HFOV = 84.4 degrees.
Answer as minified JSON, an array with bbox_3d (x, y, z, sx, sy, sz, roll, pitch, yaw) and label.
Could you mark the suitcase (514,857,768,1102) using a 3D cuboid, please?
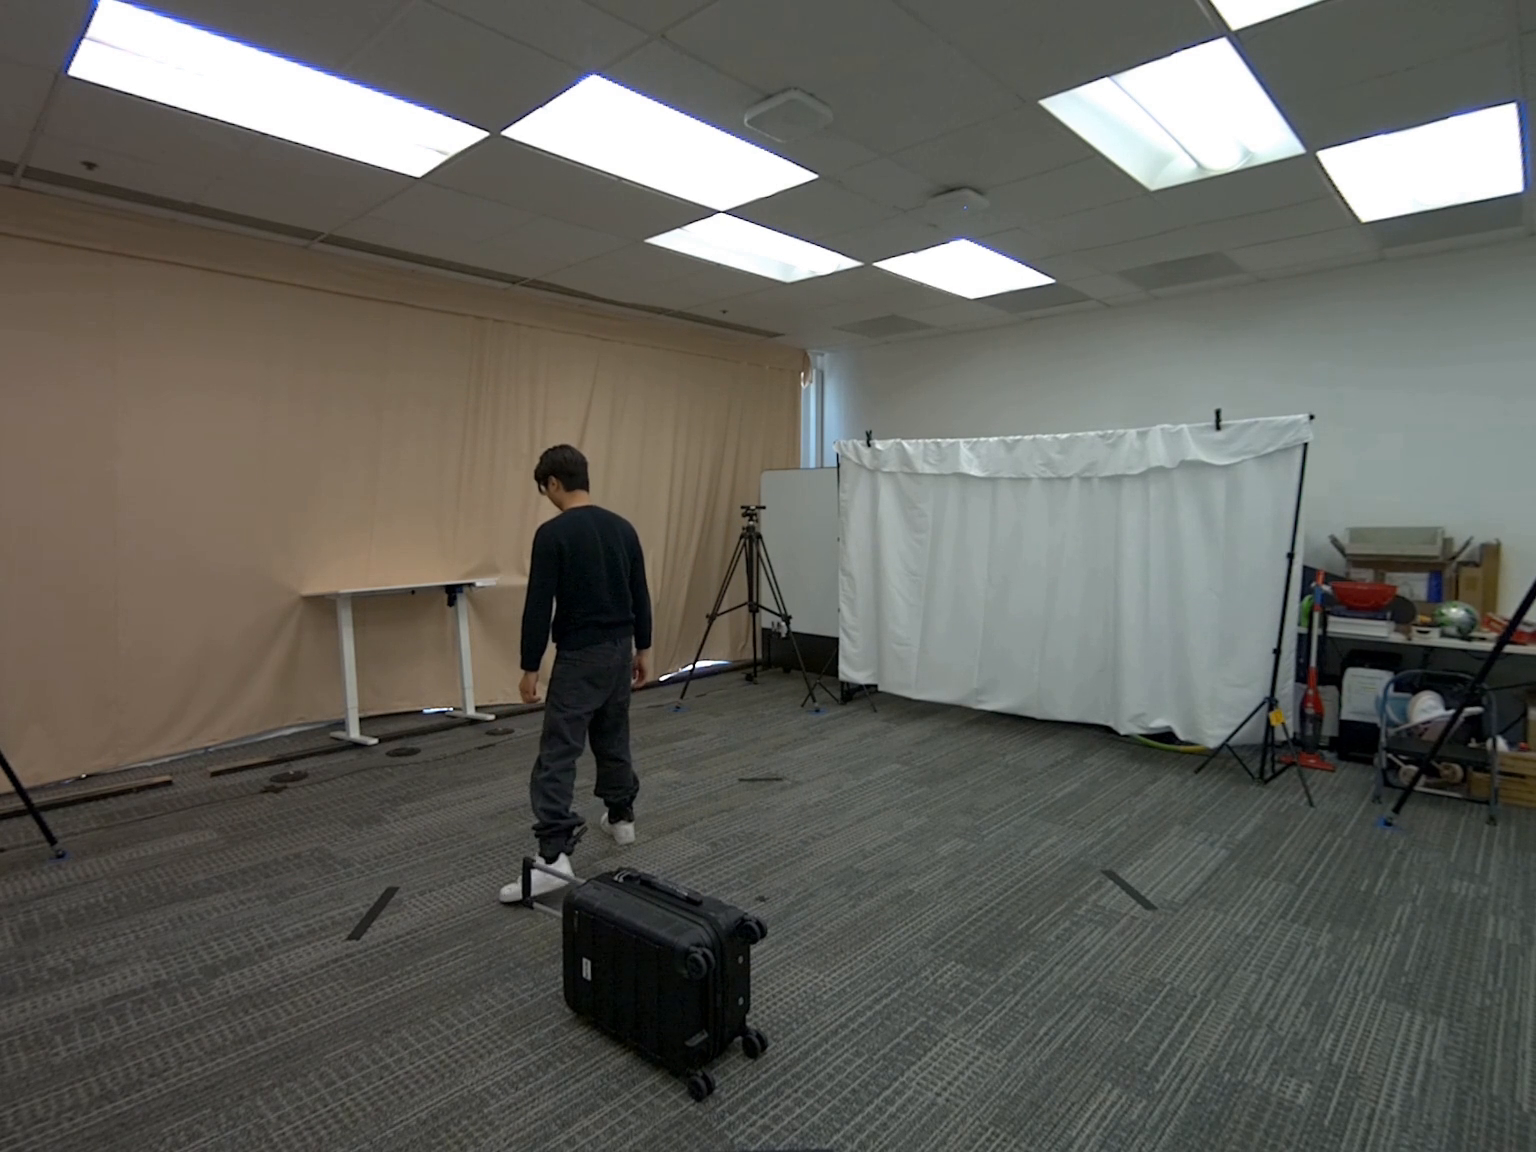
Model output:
[{"bbox_3d":[-0.455,1.012,2.349,1.011,0.383,0.249,3,5,39],"label":"suitcase"}]
